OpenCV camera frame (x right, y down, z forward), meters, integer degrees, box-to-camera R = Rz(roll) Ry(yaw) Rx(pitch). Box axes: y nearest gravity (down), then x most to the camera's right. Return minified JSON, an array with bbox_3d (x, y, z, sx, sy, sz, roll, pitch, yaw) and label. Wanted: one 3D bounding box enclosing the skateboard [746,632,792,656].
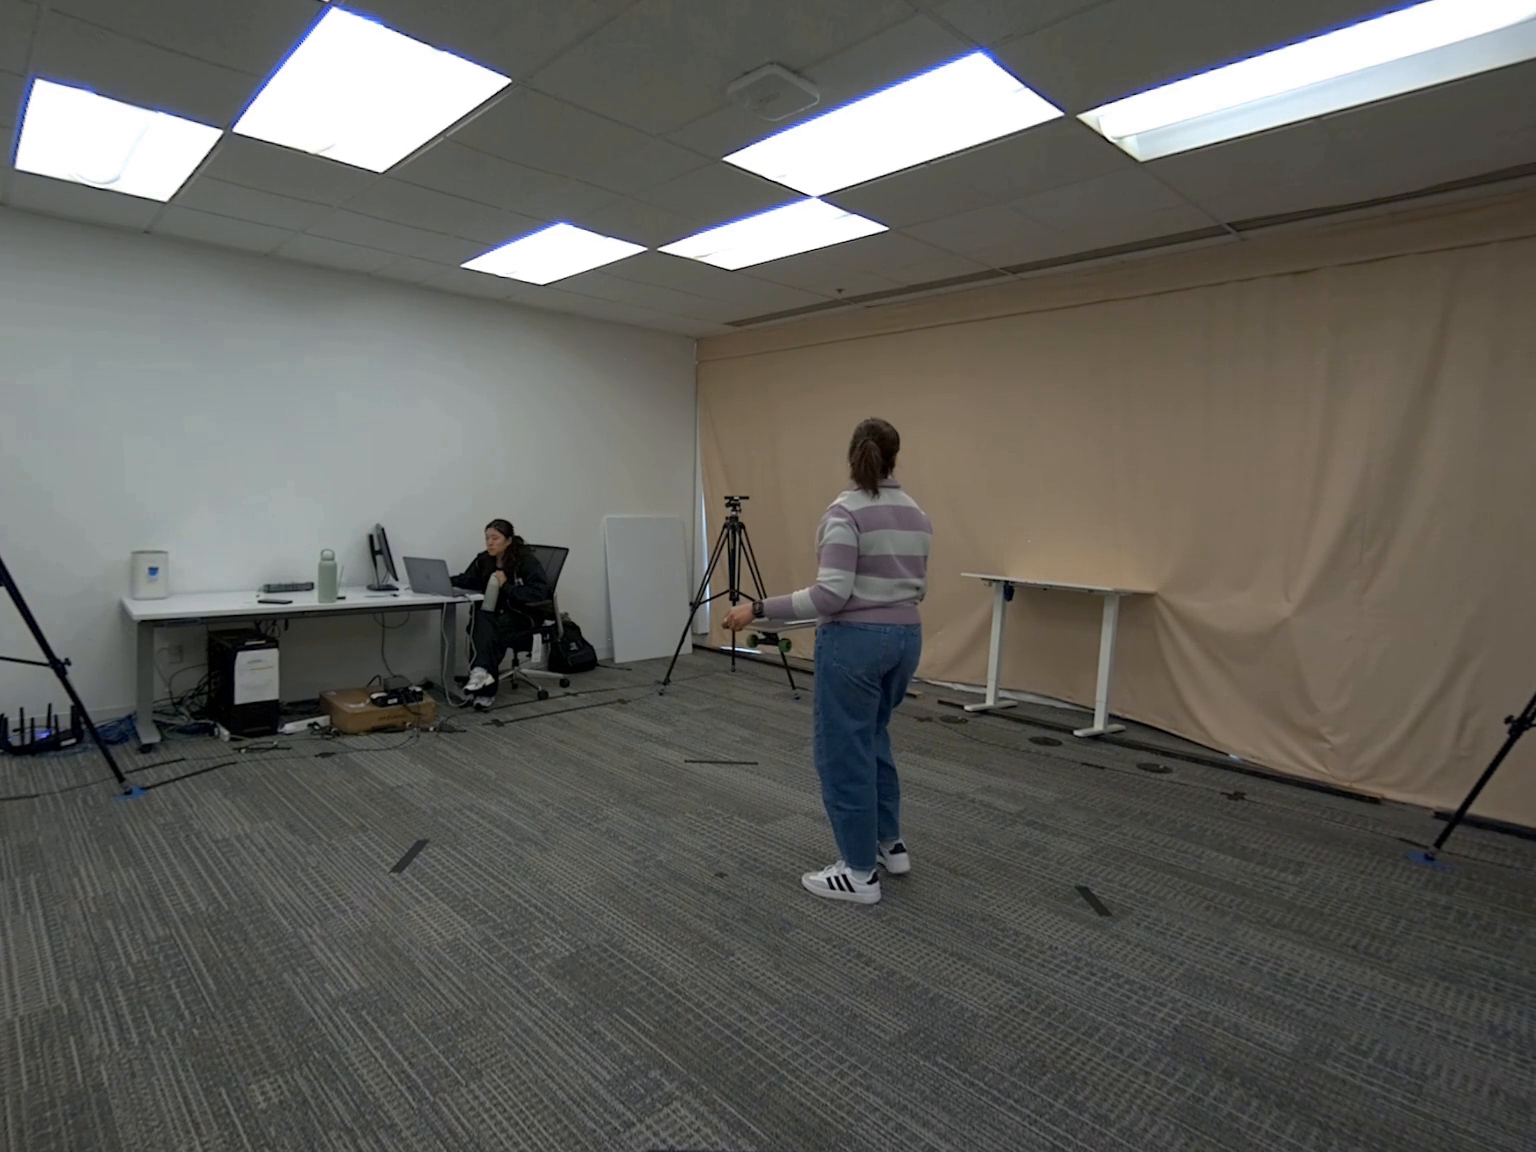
[{"bbox_3d":[0.136,0.205,3.149,0.198,0.110,0.767,3,4,42],"label":"skateboard"}]
